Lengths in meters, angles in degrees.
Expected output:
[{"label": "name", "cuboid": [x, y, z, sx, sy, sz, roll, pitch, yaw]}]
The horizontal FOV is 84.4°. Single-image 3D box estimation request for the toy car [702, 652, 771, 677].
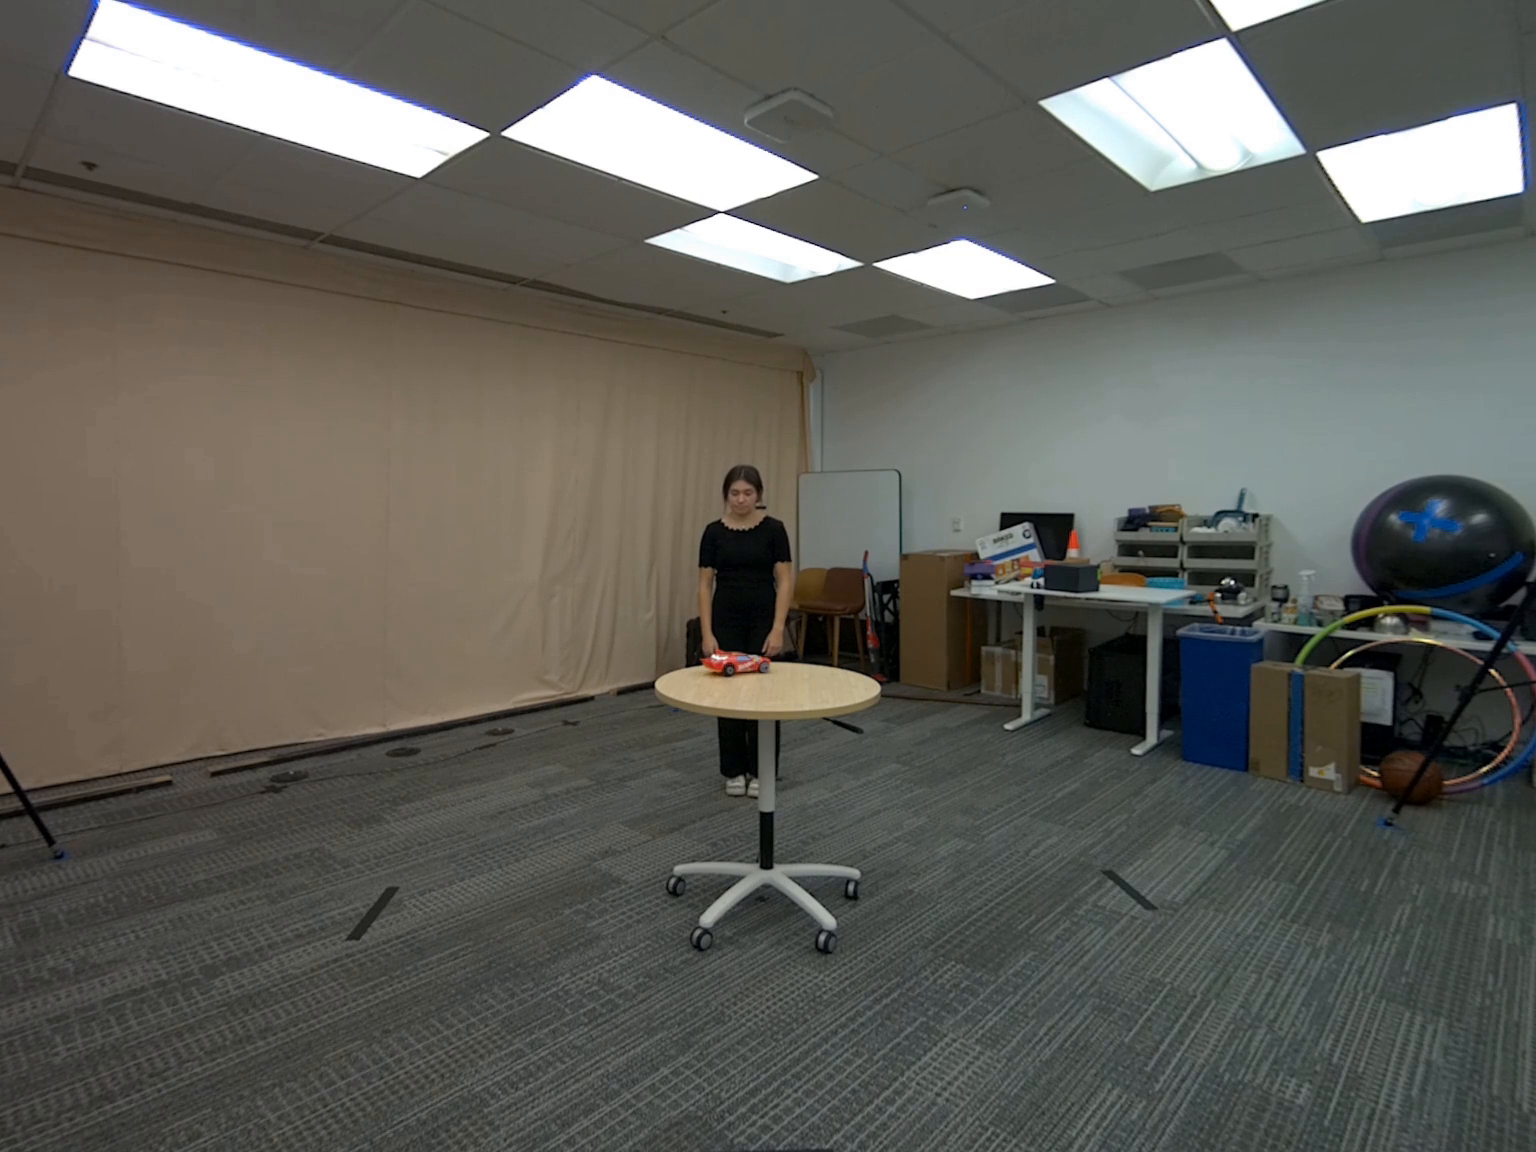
[{"label": "toy car", "cuboid": [-0.124, 0.317, 3.051, 0.247, 0.083, 0.134, 10, -1, -29]}]
